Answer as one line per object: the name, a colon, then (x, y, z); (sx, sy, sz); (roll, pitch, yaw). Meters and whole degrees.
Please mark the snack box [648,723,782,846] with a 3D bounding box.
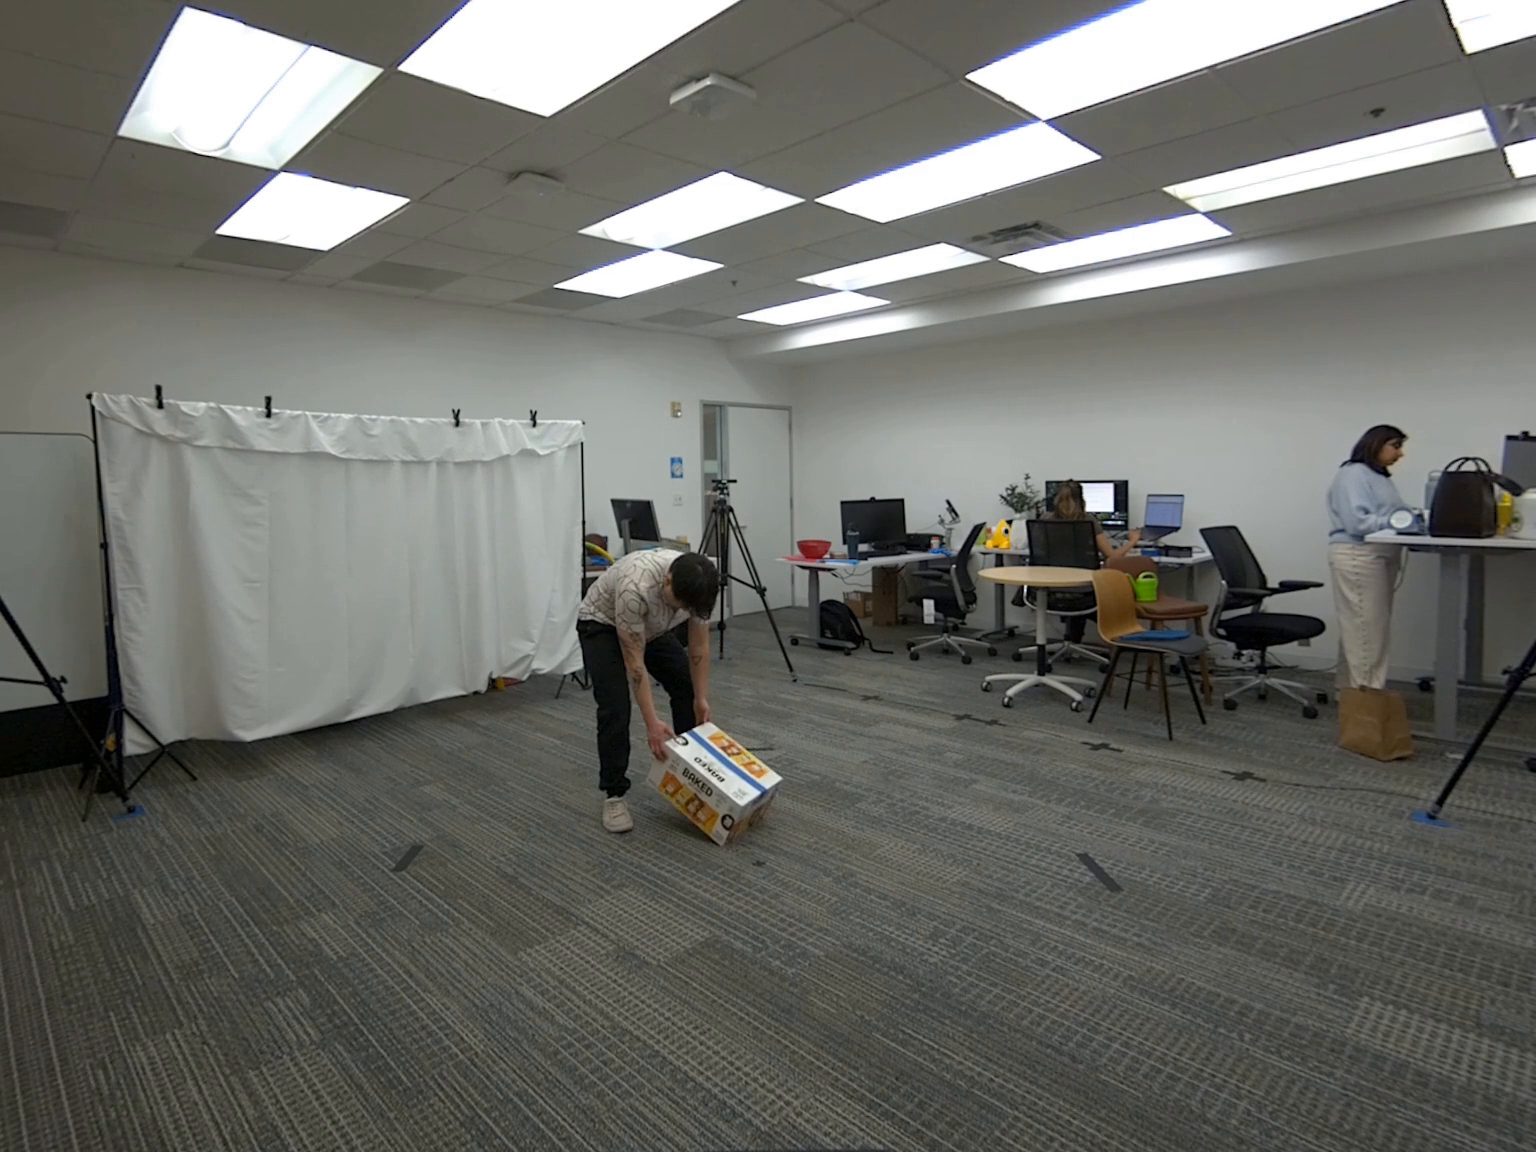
snack box: (-0.216, 0.827, 3.452); (0.417, 0.204, 0.333); (33, 20, 23)
